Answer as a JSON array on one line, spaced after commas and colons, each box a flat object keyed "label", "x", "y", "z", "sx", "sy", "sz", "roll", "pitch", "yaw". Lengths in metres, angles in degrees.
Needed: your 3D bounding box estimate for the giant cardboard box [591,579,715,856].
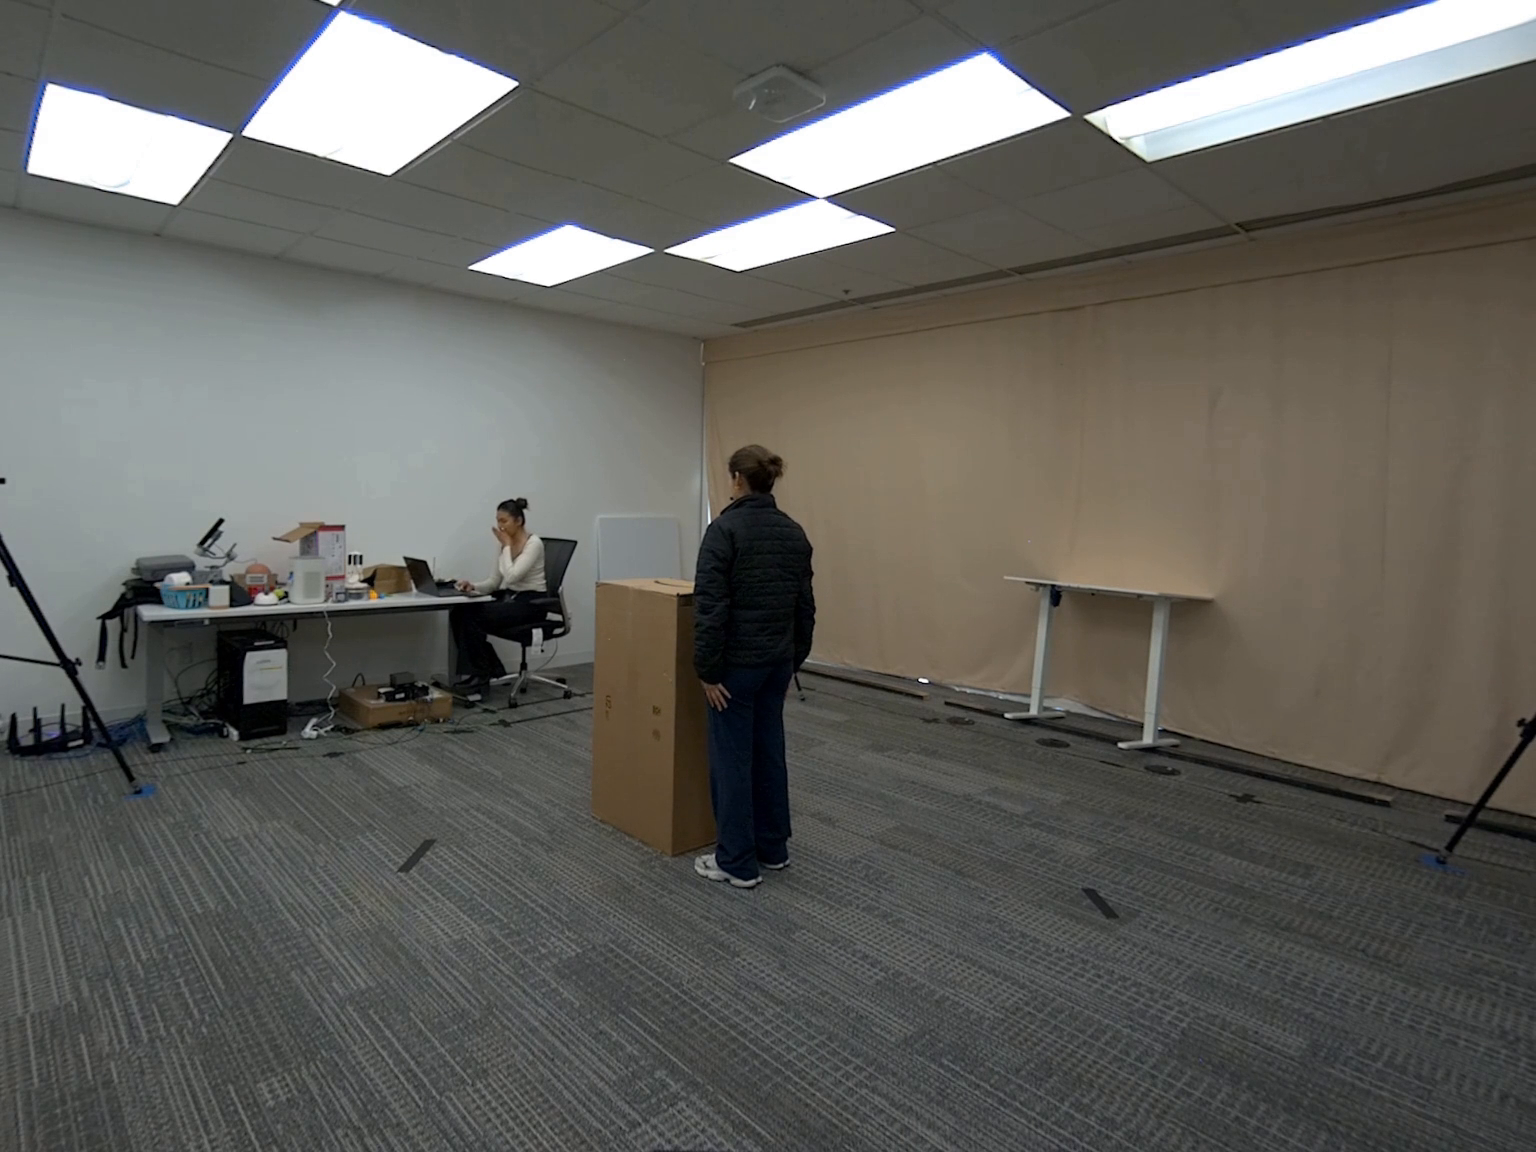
[{"label": "giant cardboard box", "x": -0.418, "y": 0.551, "z": 3.572, "sx": 0.416, "sy": 1.023, "sz": 0.592, "roll": -1, "pitch": 4, "yaw": -44}]
